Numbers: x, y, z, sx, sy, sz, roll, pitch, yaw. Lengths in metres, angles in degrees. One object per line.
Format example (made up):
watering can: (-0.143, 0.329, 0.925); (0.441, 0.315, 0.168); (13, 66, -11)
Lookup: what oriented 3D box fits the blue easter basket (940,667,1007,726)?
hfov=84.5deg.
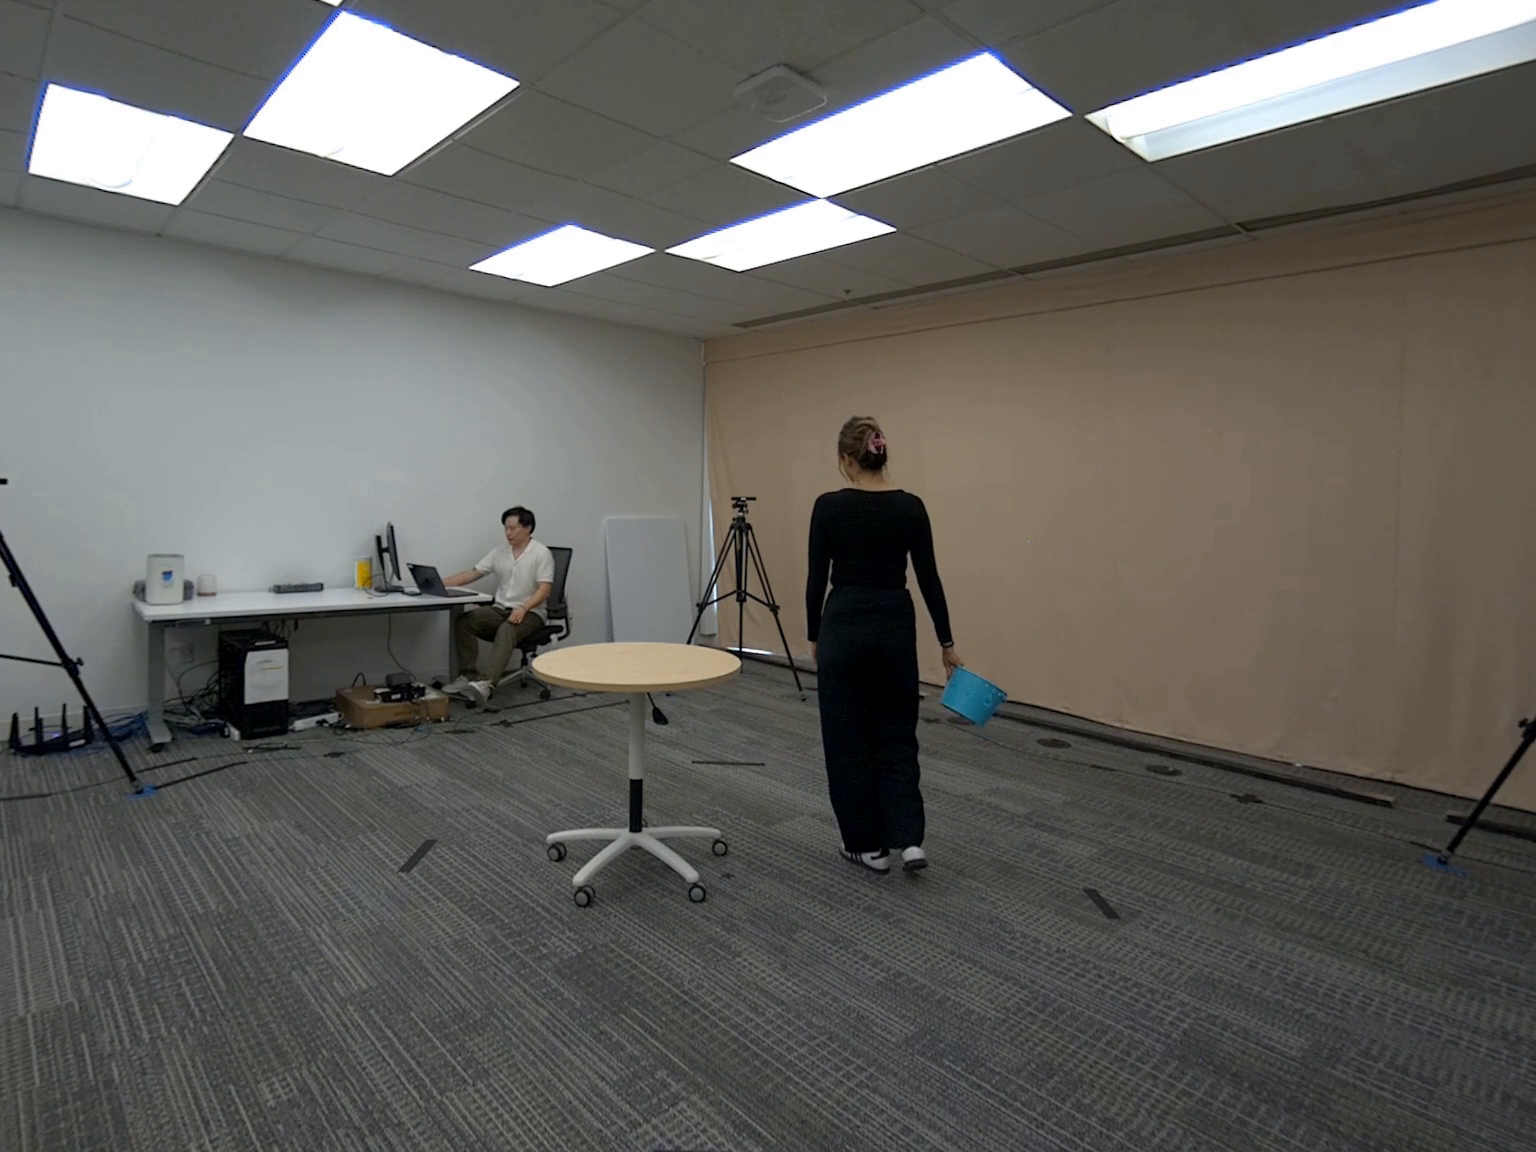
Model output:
blue easter basket: (0.757, 0.457, 3.210); (0.244, 0.156, 0.243); (30, -3, 0)
